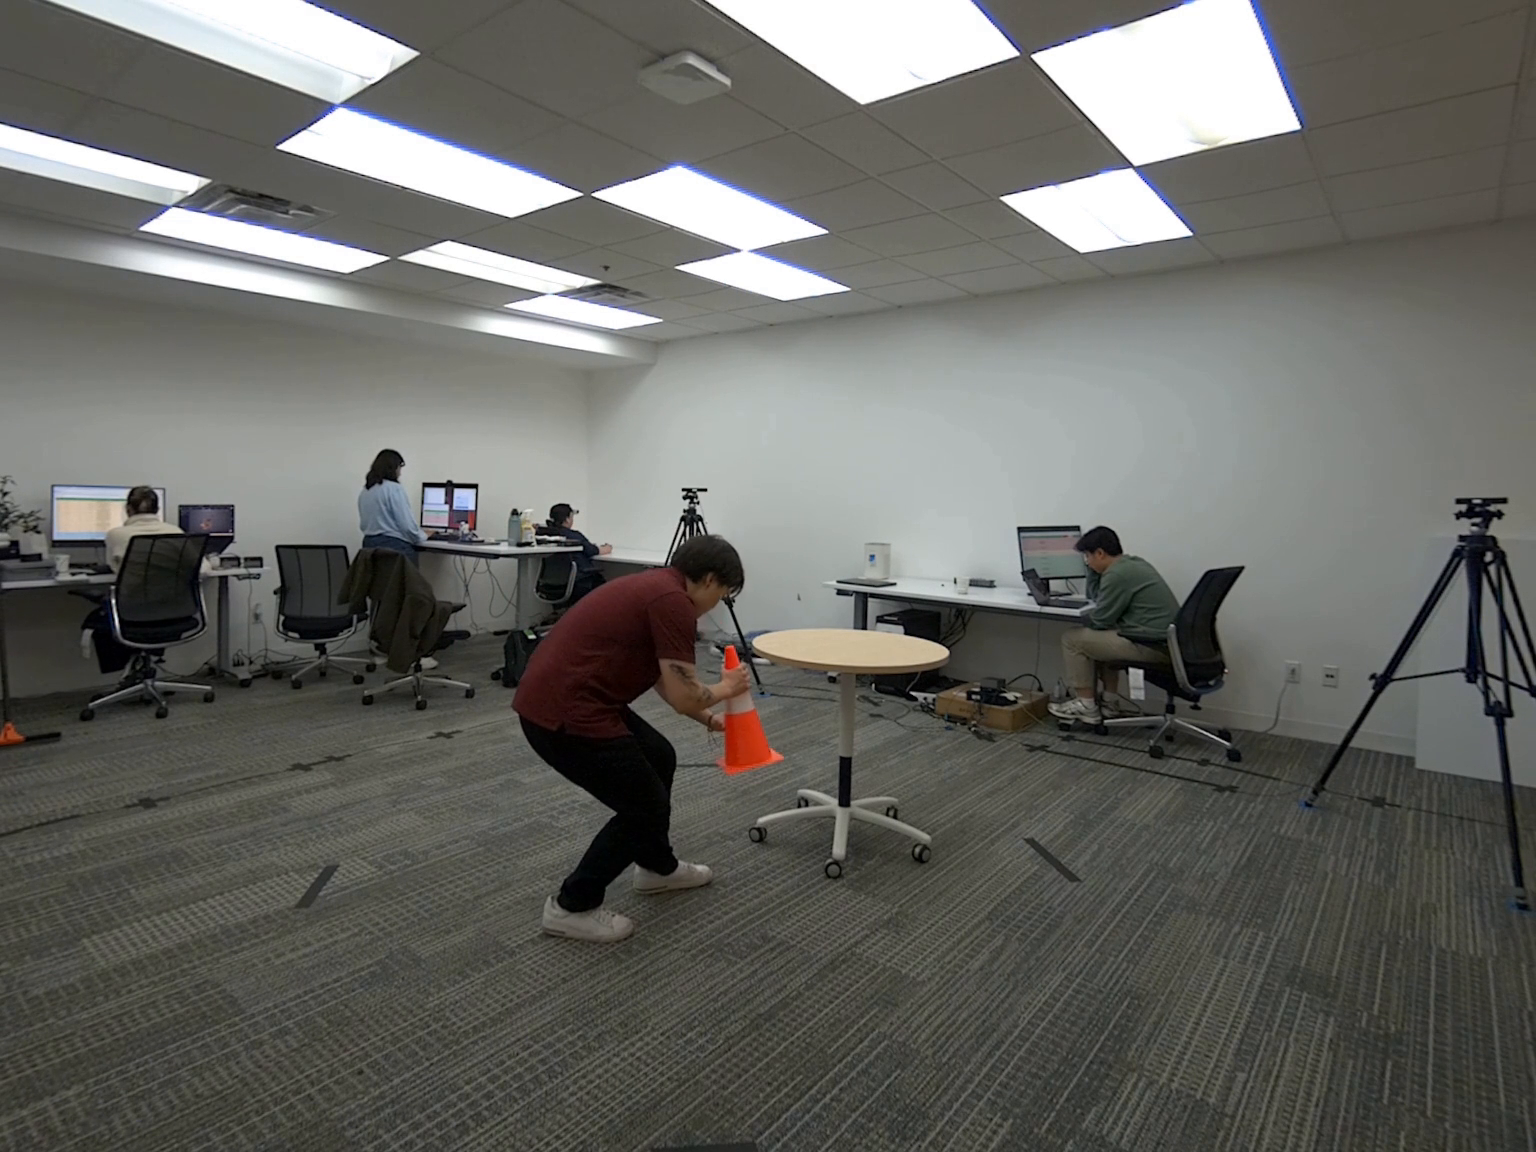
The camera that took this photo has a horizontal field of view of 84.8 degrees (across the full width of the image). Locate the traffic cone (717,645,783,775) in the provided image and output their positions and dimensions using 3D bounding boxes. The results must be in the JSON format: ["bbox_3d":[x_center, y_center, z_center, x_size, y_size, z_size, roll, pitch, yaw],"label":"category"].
[{"bbox_3d":[-0.112,0.425,2.807,0.200,0.383,0.208,-10,2,-19],"label":"traffic cone"}]
